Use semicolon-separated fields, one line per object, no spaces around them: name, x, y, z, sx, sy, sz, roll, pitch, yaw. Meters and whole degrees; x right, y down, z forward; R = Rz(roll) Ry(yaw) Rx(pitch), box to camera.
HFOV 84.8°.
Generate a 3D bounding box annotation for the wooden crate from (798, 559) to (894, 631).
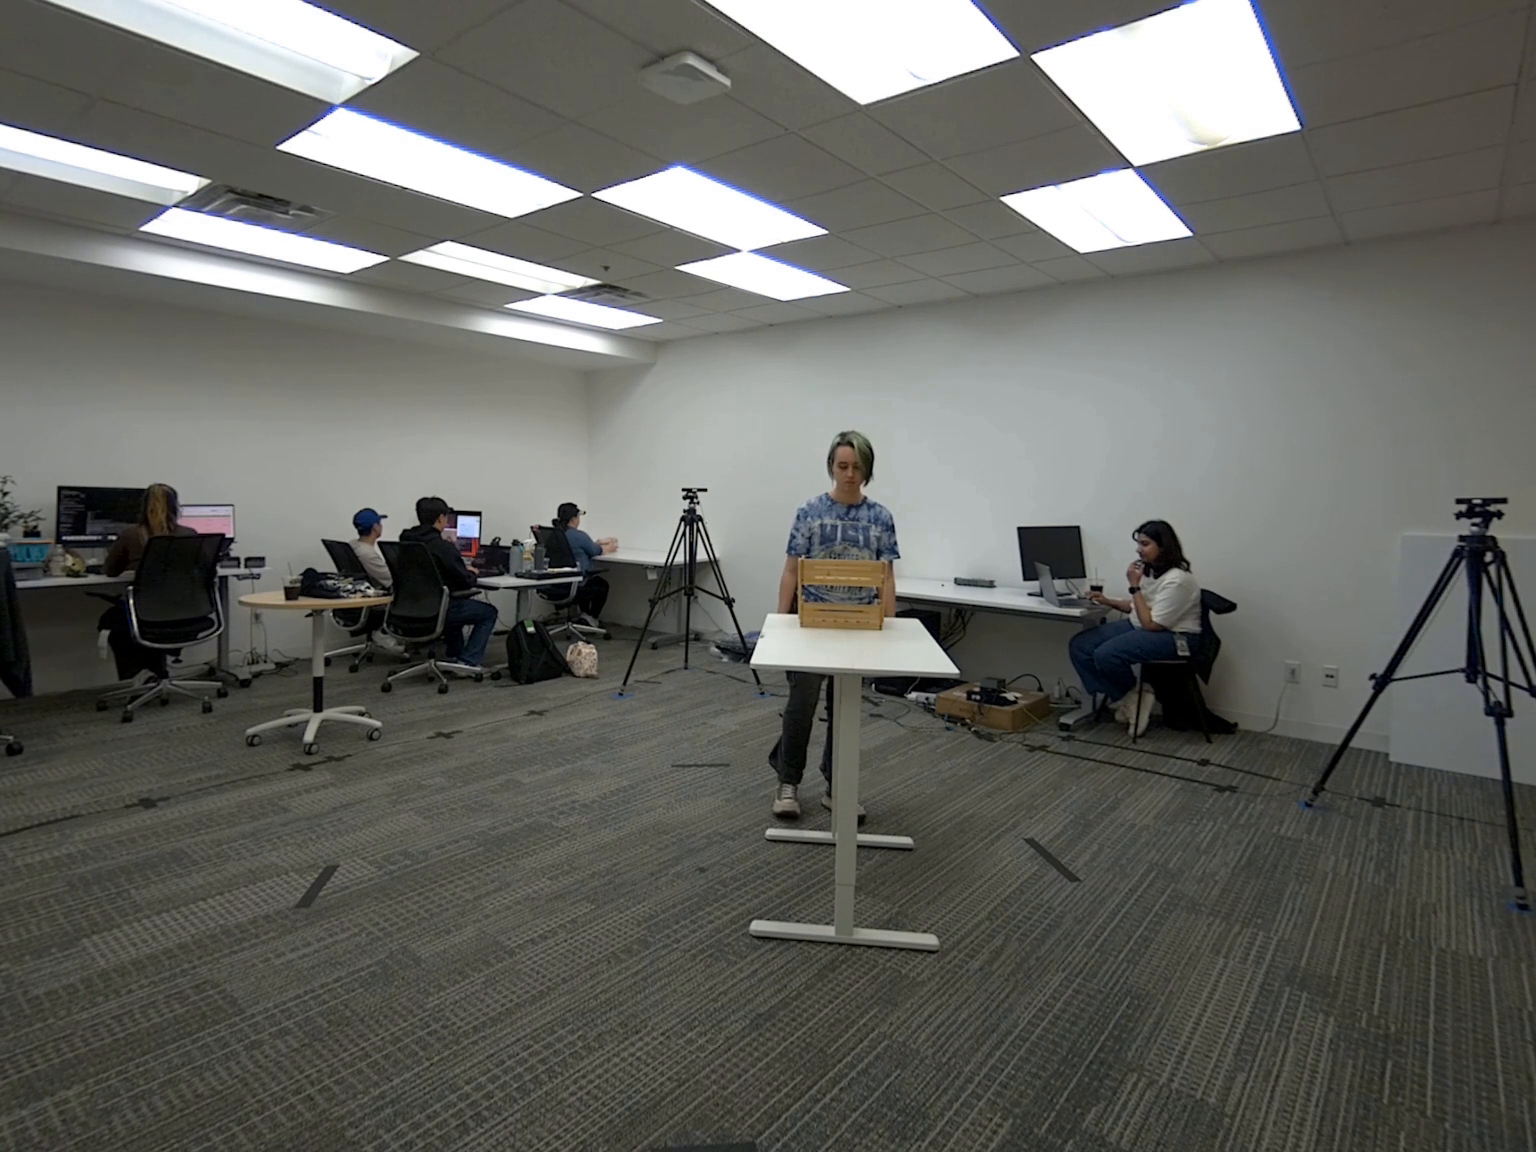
wooden crate;0.274;0.048;3.233;0.327;0.272;0.301;2;6;6
